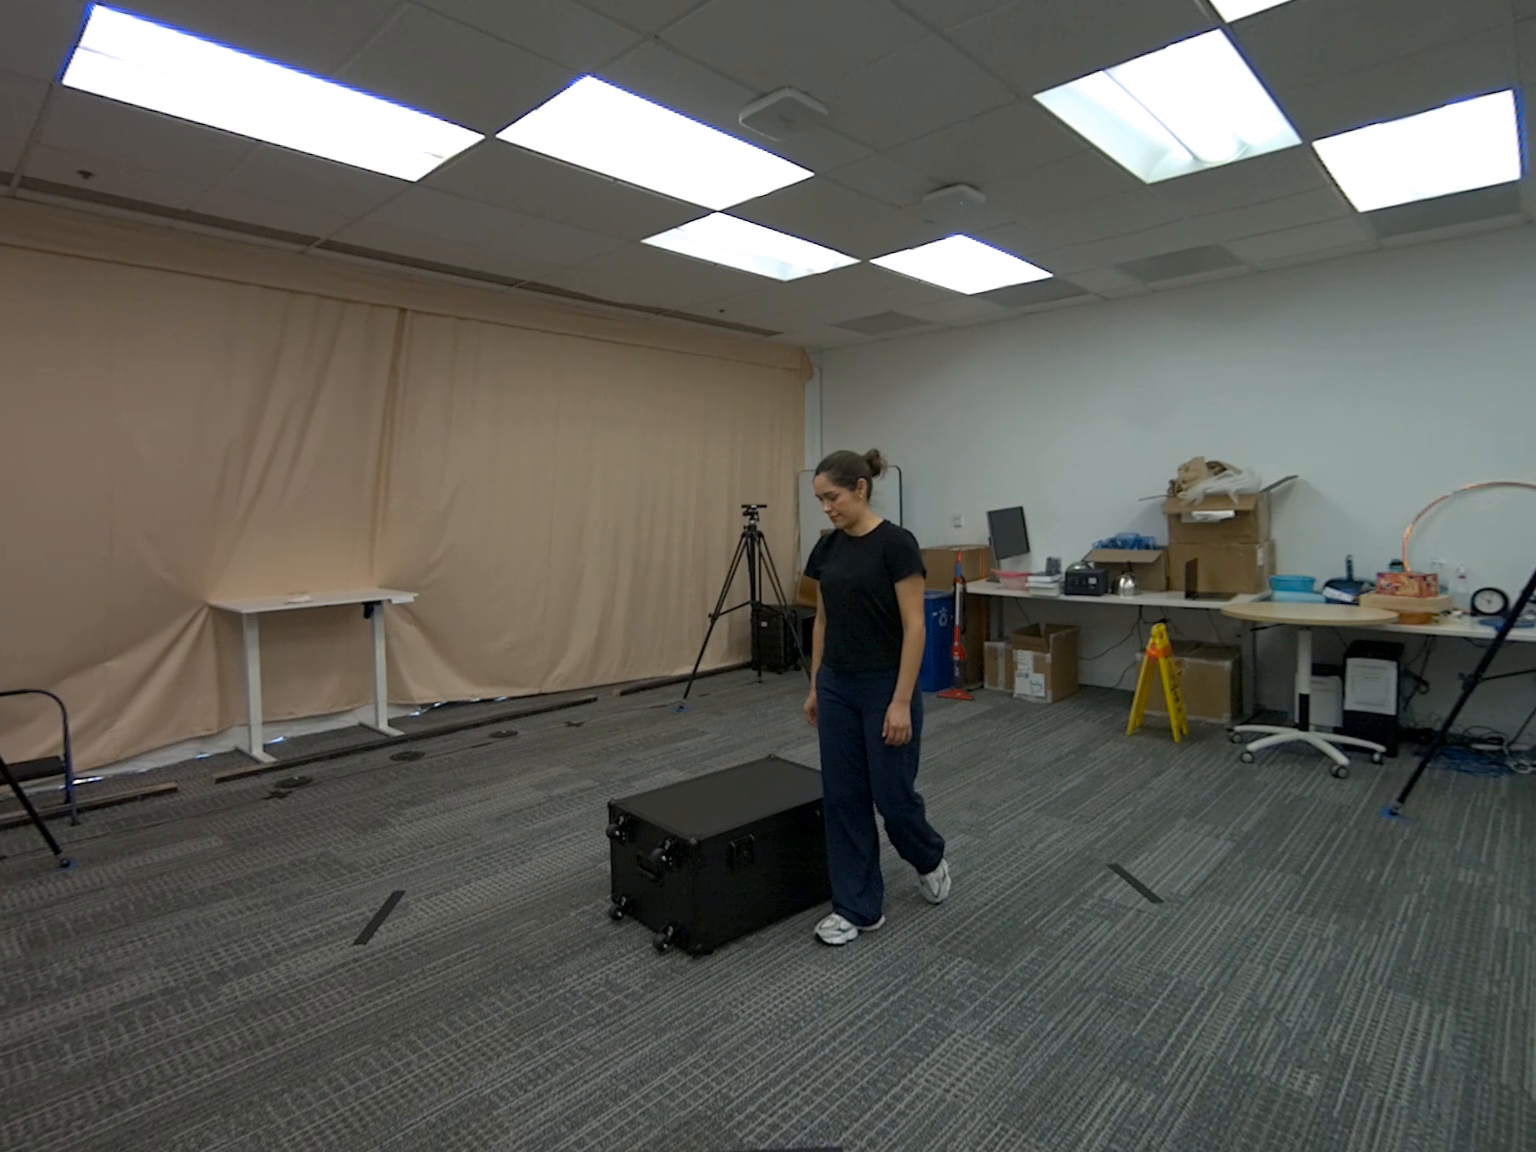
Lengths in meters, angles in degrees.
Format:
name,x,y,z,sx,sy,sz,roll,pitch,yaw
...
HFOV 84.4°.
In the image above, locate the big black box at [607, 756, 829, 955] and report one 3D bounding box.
name,x,y,z,sx,sy,sz,roll,pitch,yaw
big black box,-0.069,0.948,3.004,0.836,0.395,0.538,-6,6,-41
